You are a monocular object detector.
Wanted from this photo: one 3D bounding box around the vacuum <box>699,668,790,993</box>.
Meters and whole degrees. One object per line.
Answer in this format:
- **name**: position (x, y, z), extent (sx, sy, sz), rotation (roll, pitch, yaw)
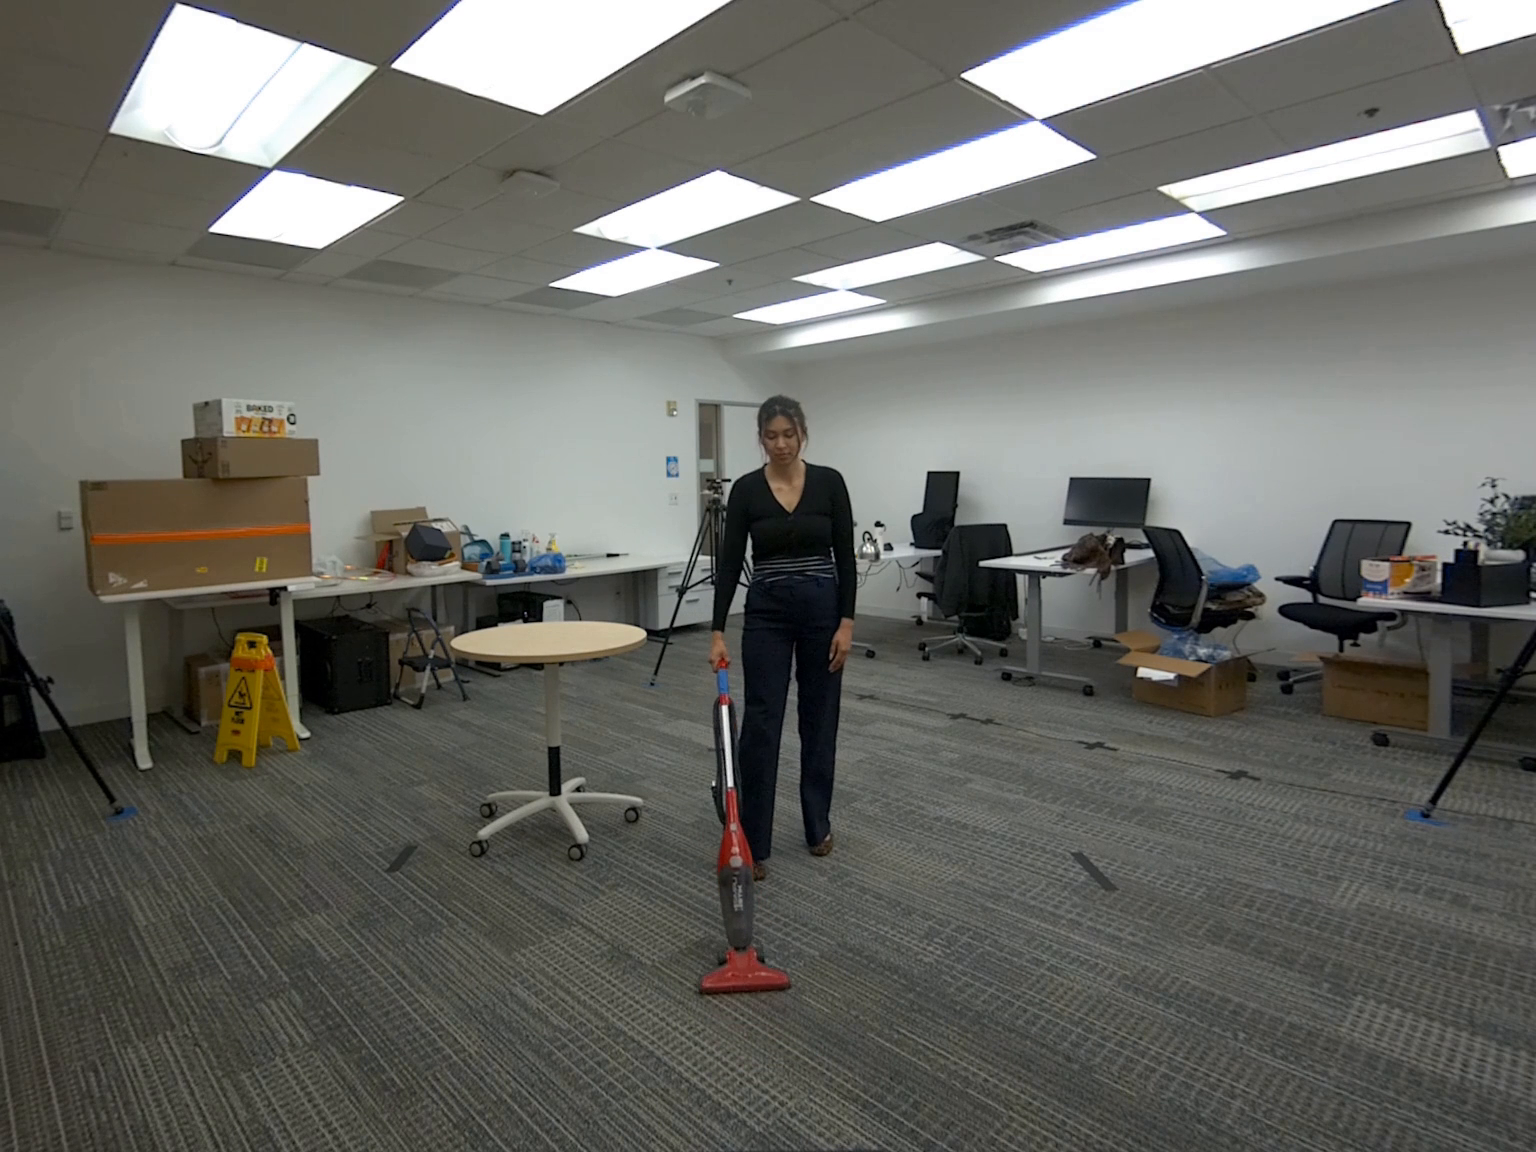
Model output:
- **vacuum**: position (-0.119, 0.703, 2.744), extent (0.251, 1.081, 0.140), rotation (-3, -40, -6)
